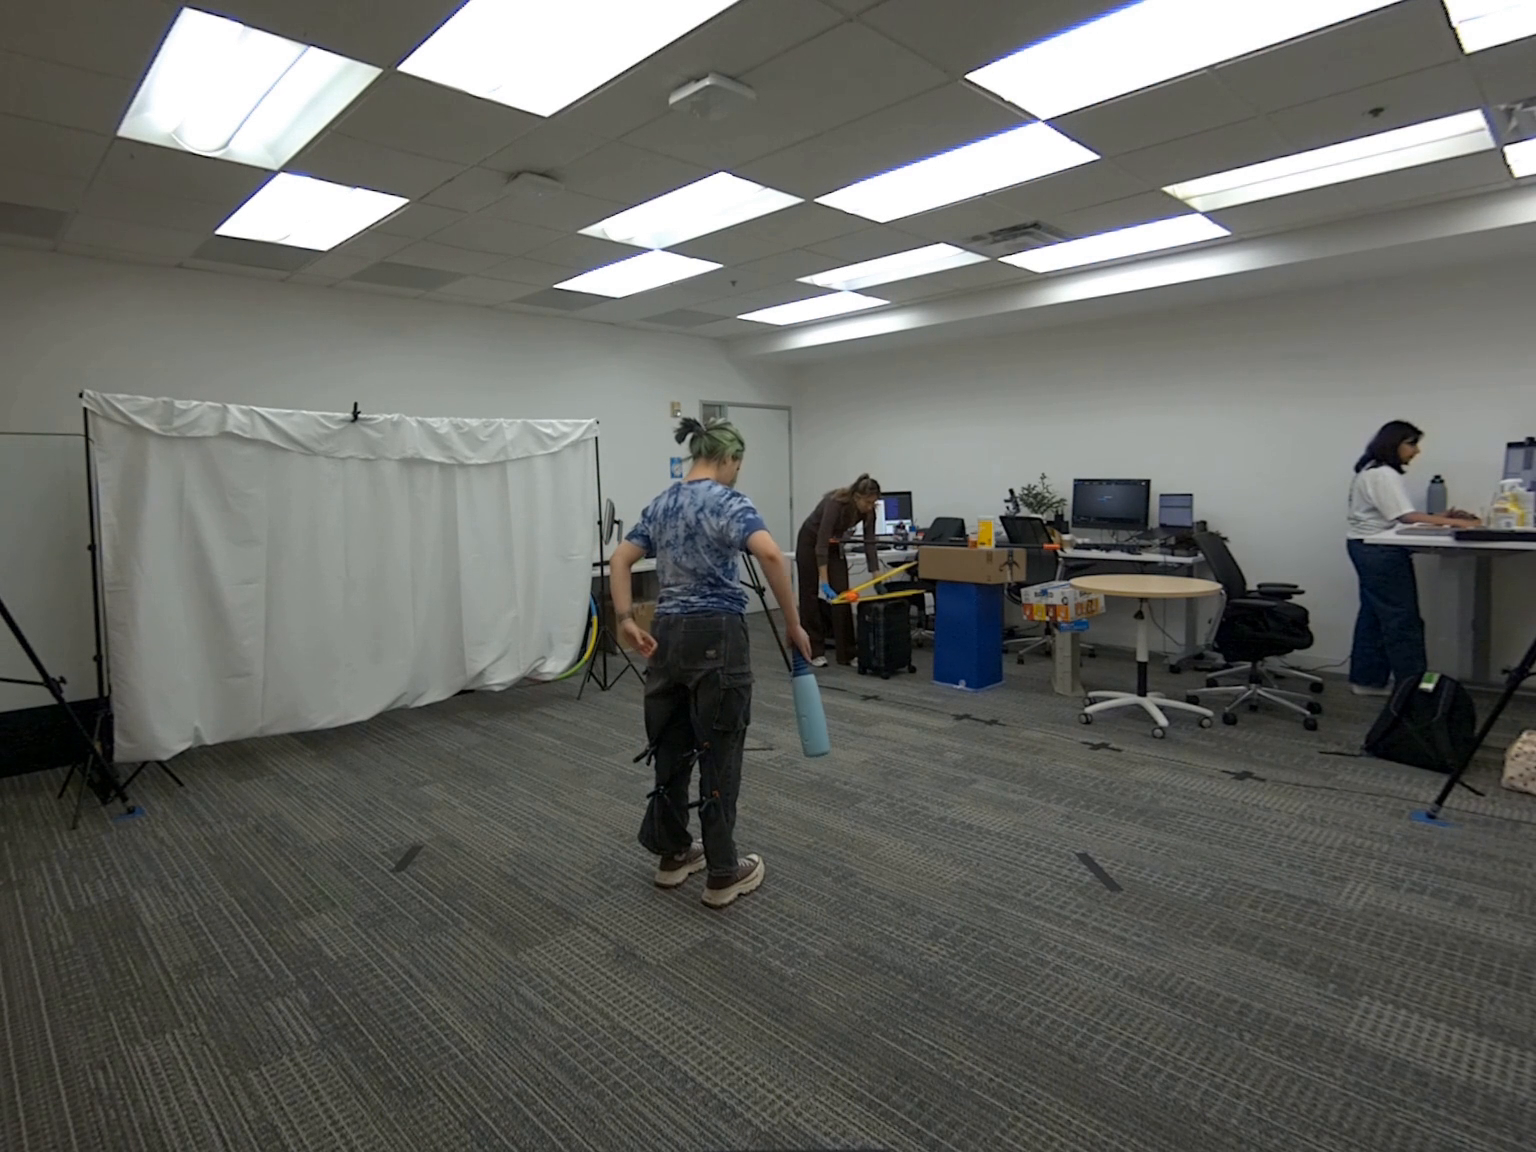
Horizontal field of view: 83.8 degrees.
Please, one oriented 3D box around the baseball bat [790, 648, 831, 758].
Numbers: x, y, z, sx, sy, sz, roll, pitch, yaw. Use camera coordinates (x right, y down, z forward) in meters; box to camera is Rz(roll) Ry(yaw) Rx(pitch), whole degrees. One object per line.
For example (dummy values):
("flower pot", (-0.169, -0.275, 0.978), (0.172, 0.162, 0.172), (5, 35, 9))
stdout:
("baseball bat", (0.090, 0.301, 2.729), (0.089, 0.552, 0.088), (-12, -14, -4))
